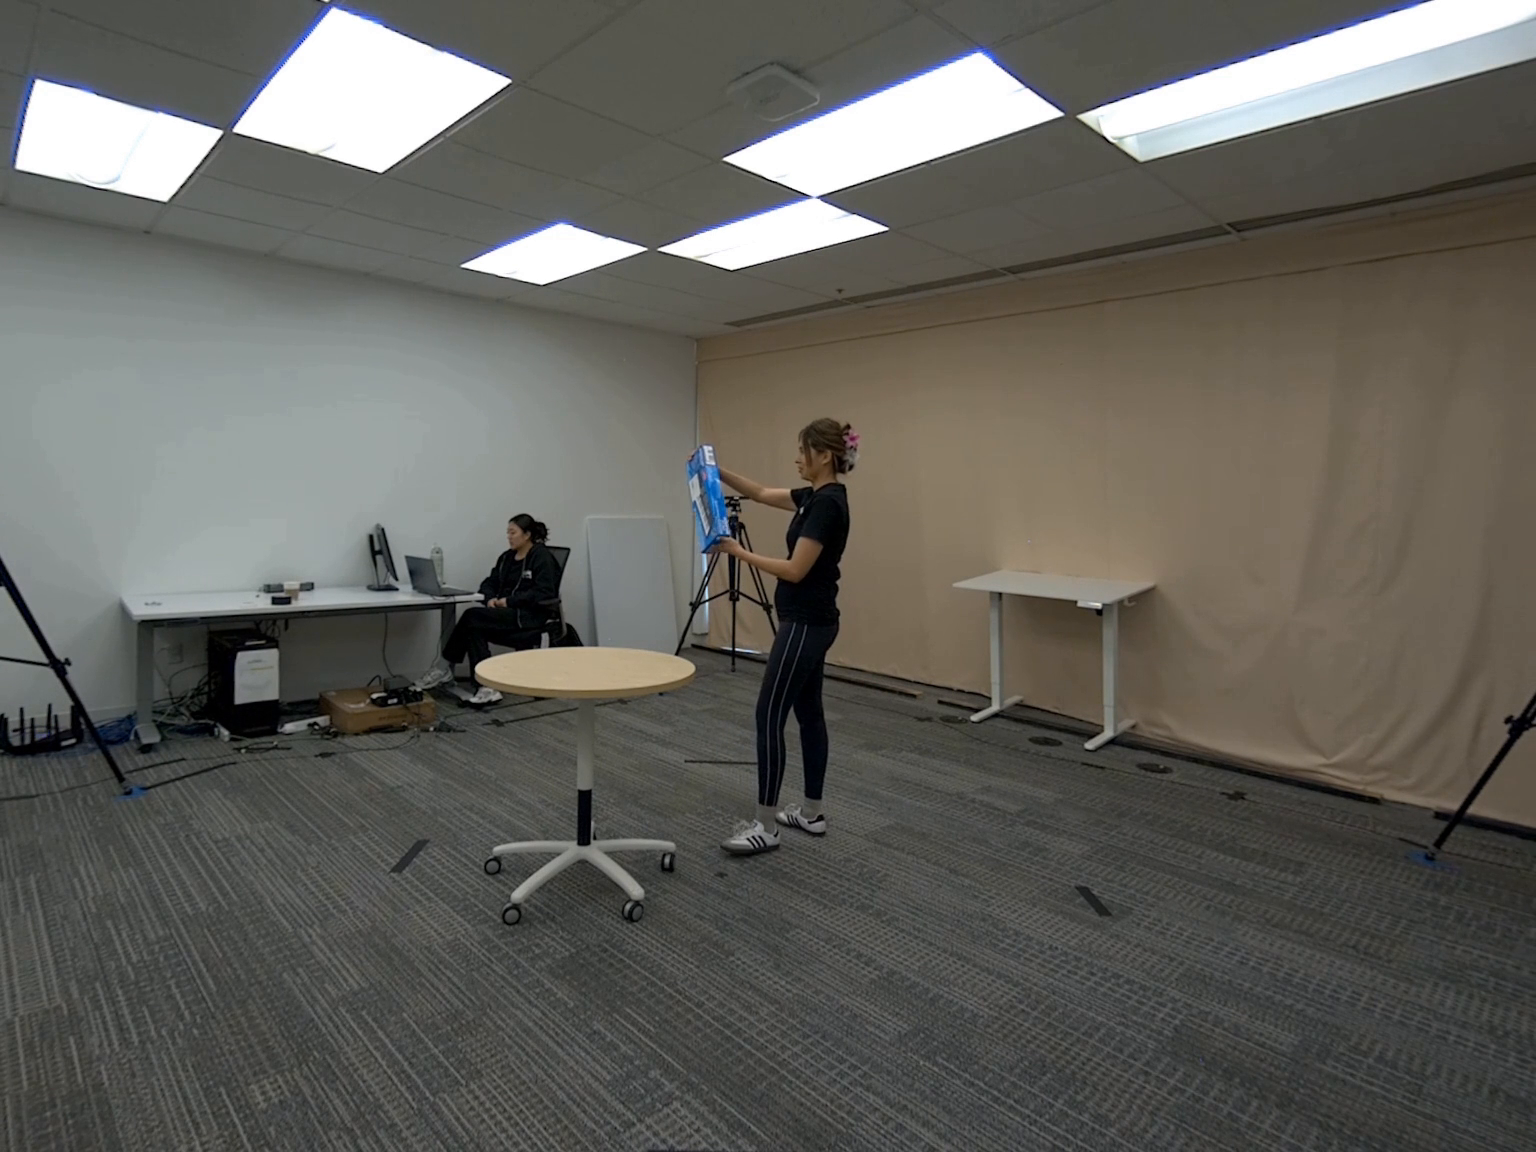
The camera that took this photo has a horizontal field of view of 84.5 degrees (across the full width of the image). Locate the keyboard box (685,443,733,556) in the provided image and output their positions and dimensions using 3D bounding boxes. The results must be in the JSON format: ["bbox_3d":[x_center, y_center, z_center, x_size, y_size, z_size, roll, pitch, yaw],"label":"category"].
[{"bbox_3d":[-0.255,-0.321,3.541,0.058,0.446,0.176,2,-28,-29],"label":"keyboard box"}]
